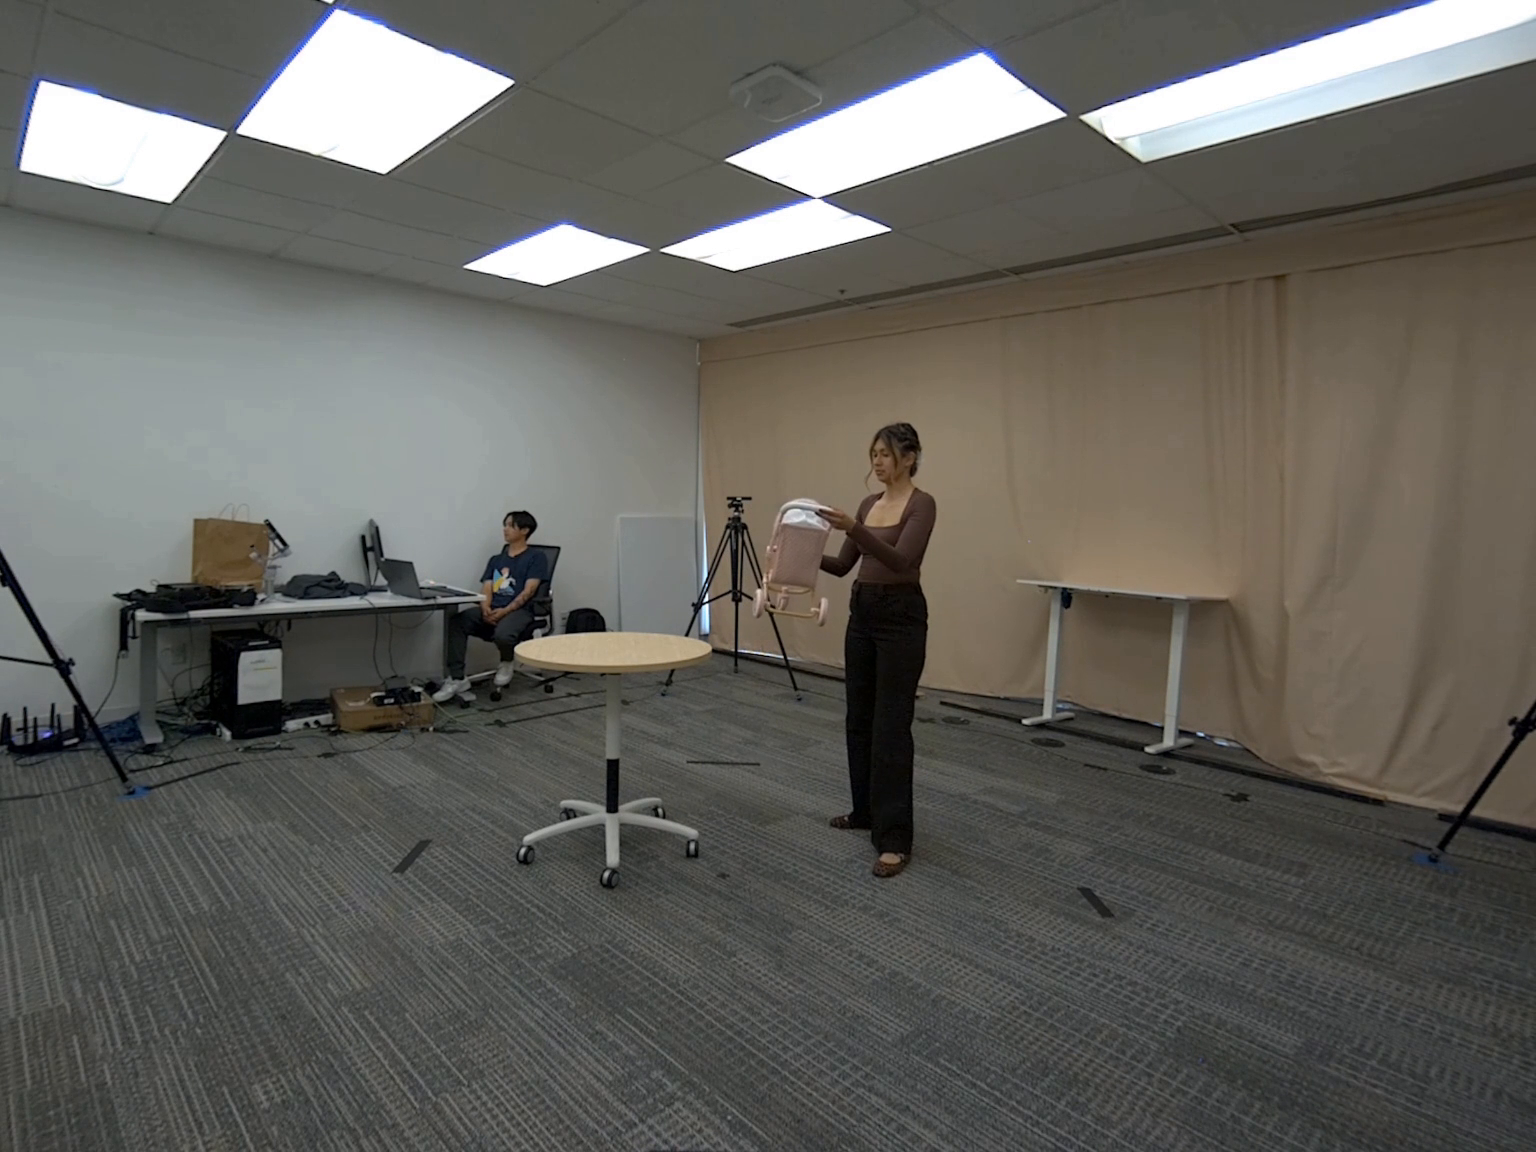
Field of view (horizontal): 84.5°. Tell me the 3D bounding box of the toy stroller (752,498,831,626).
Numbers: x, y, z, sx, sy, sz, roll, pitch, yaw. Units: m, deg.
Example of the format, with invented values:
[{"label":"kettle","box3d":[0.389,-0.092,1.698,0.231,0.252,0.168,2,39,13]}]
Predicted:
[{"label":"toy stroller","box3d":[0.105,-0.059,3.256,0.281,0.529,0.345,8,18,-2]}]
